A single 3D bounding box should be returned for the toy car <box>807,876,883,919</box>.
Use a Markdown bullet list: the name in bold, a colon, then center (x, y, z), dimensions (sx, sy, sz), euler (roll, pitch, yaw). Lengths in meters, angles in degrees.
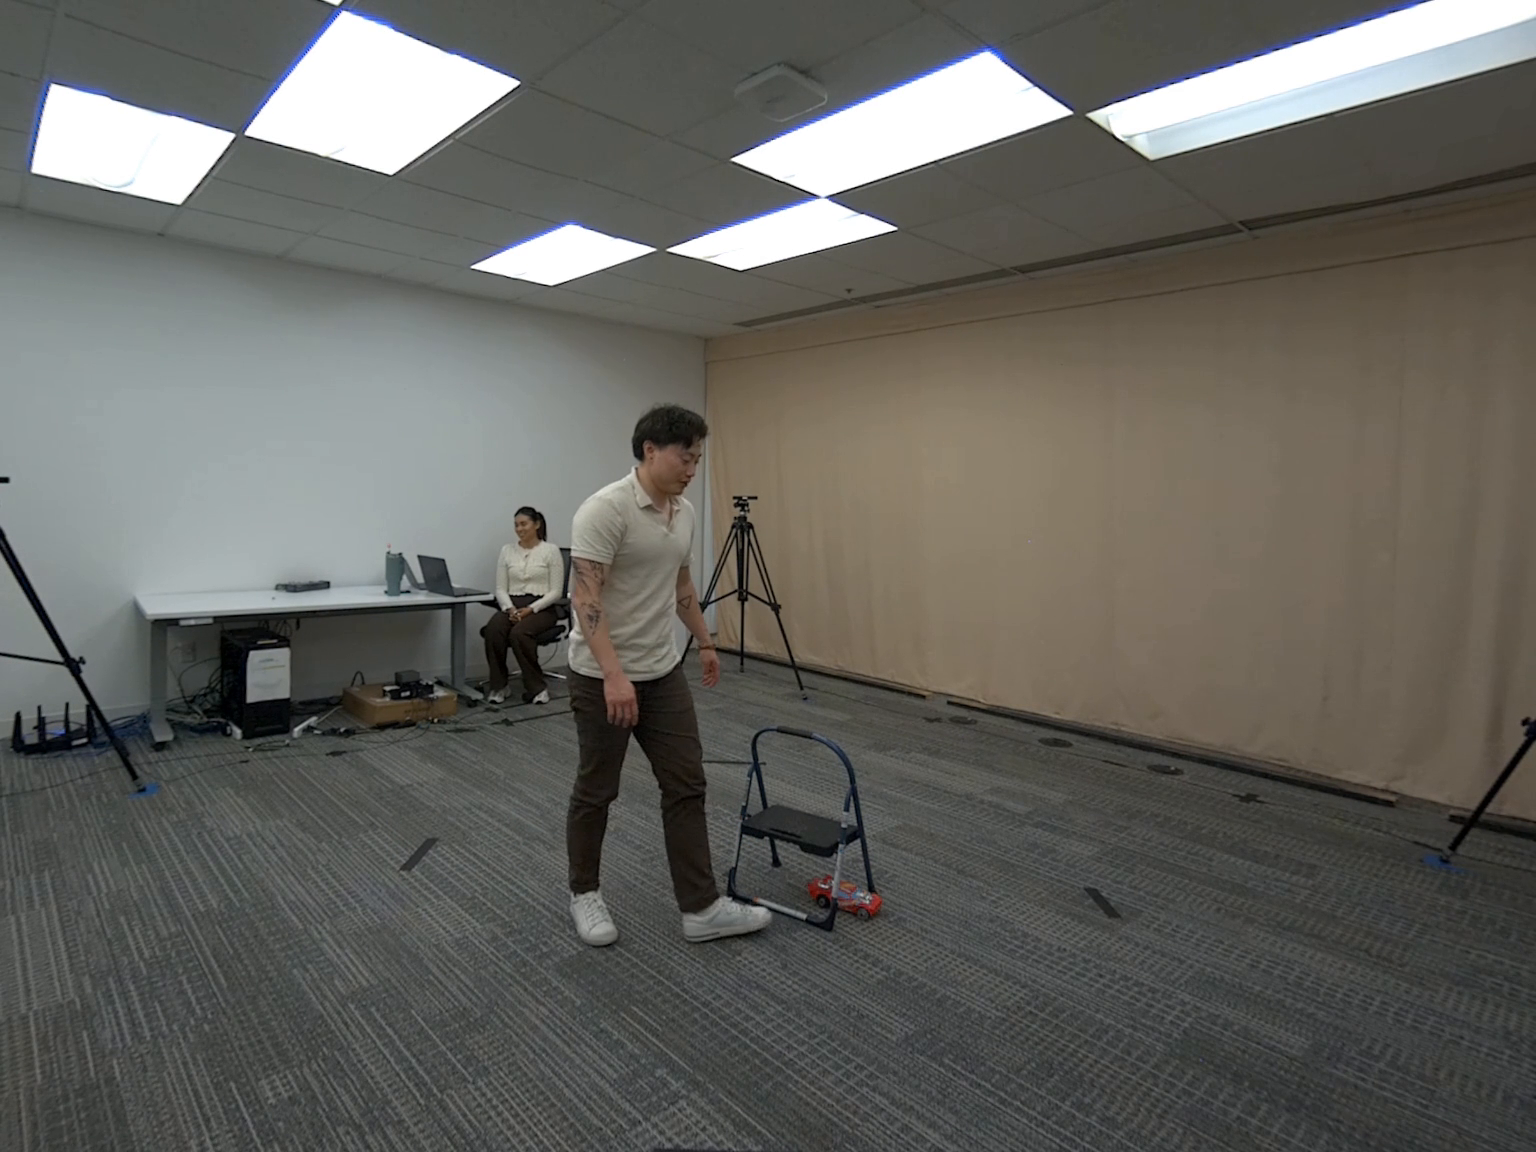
- **toy car**: center (0.251, 1.101, 2.876), dimensions (0.261, 0.083, 0.128), euler (17, 12, 29)
